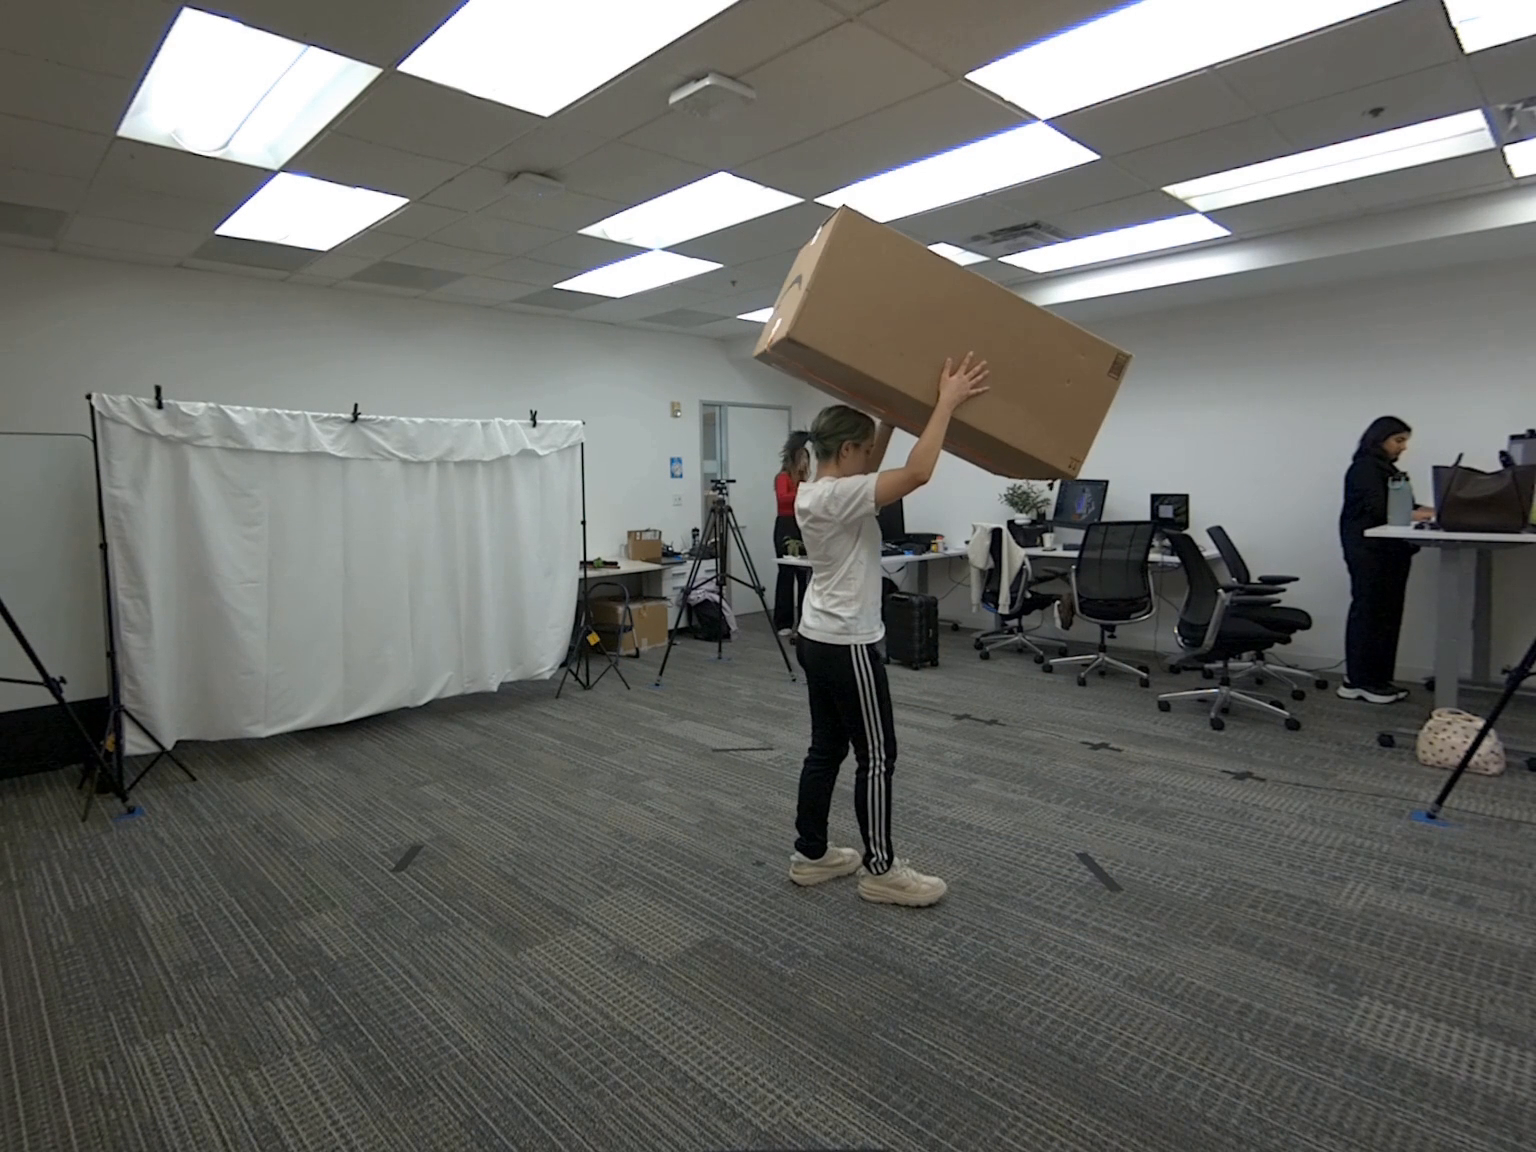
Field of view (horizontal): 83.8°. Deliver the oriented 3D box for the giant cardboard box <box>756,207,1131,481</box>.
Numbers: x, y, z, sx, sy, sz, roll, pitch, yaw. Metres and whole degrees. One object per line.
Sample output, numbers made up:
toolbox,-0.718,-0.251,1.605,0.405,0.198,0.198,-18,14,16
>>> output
giant cardboard box,0.538,-0.728,2.836,1.014,0.447,0.591,24,1,-10
